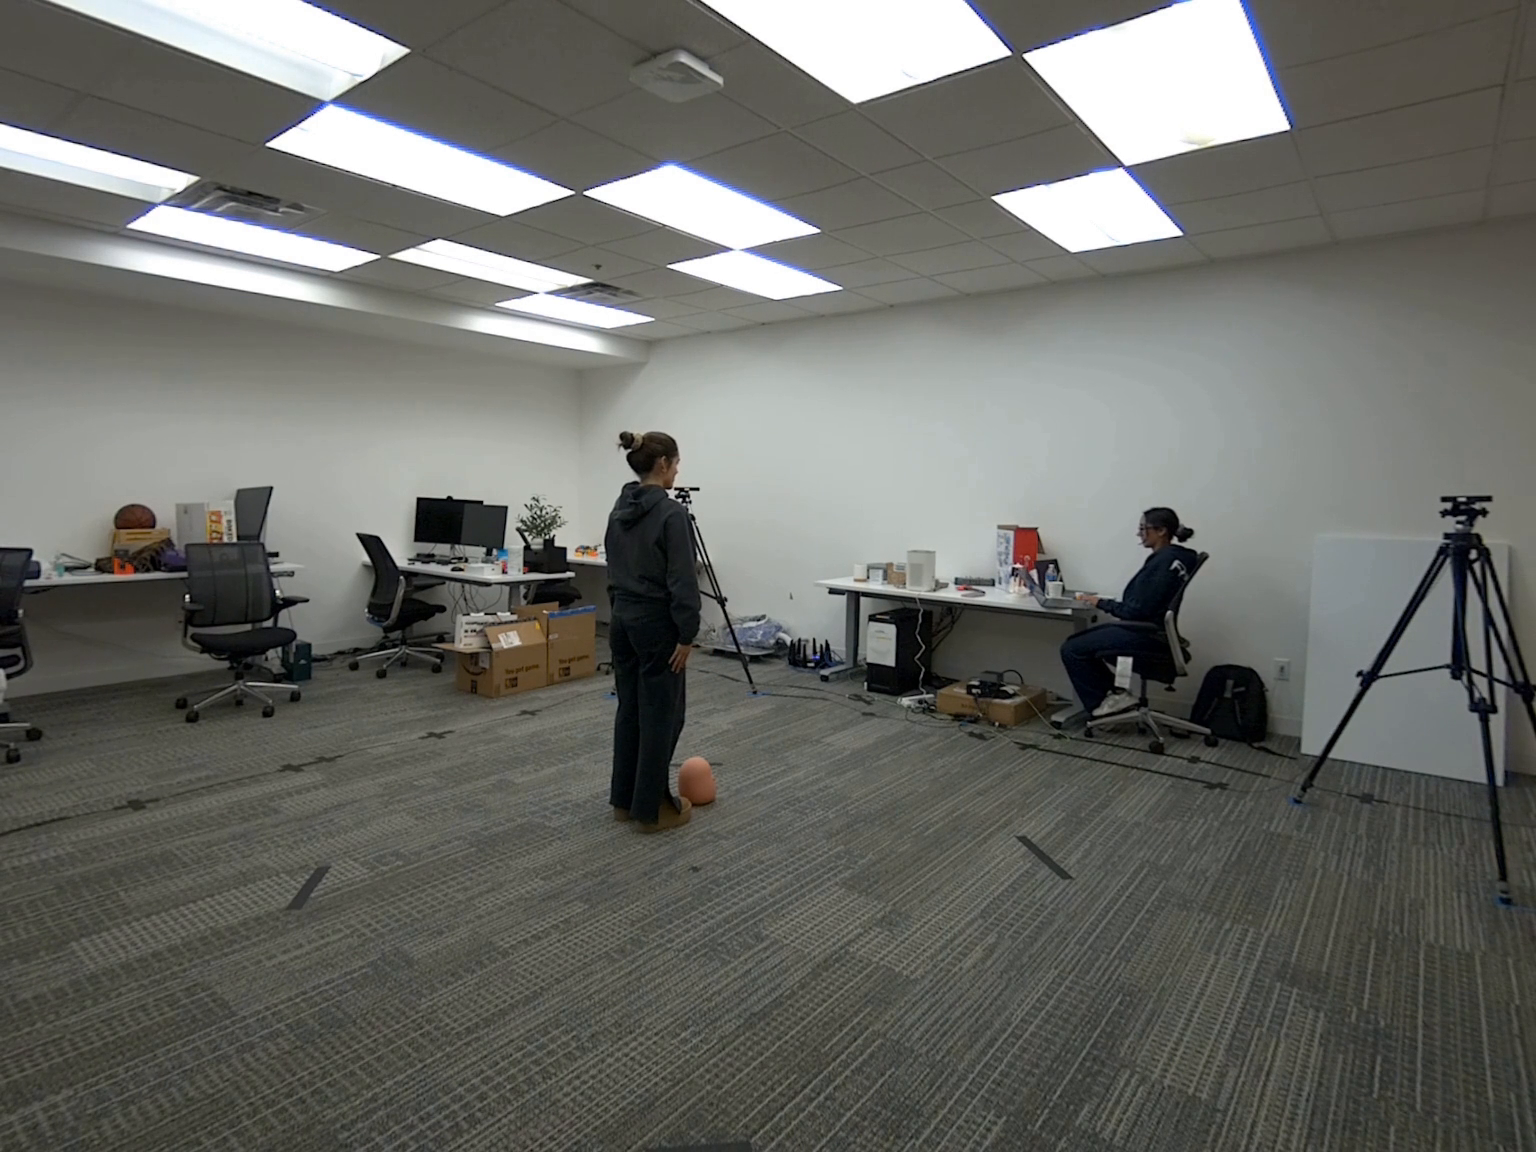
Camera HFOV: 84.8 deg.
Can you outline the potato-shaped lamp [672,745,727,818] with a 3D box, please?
[{"bbox_3d":[-0.312,0.919,3.777,0.177,0.193,0.163,25,37,29],"label":"potato-shaped lamp"}]
